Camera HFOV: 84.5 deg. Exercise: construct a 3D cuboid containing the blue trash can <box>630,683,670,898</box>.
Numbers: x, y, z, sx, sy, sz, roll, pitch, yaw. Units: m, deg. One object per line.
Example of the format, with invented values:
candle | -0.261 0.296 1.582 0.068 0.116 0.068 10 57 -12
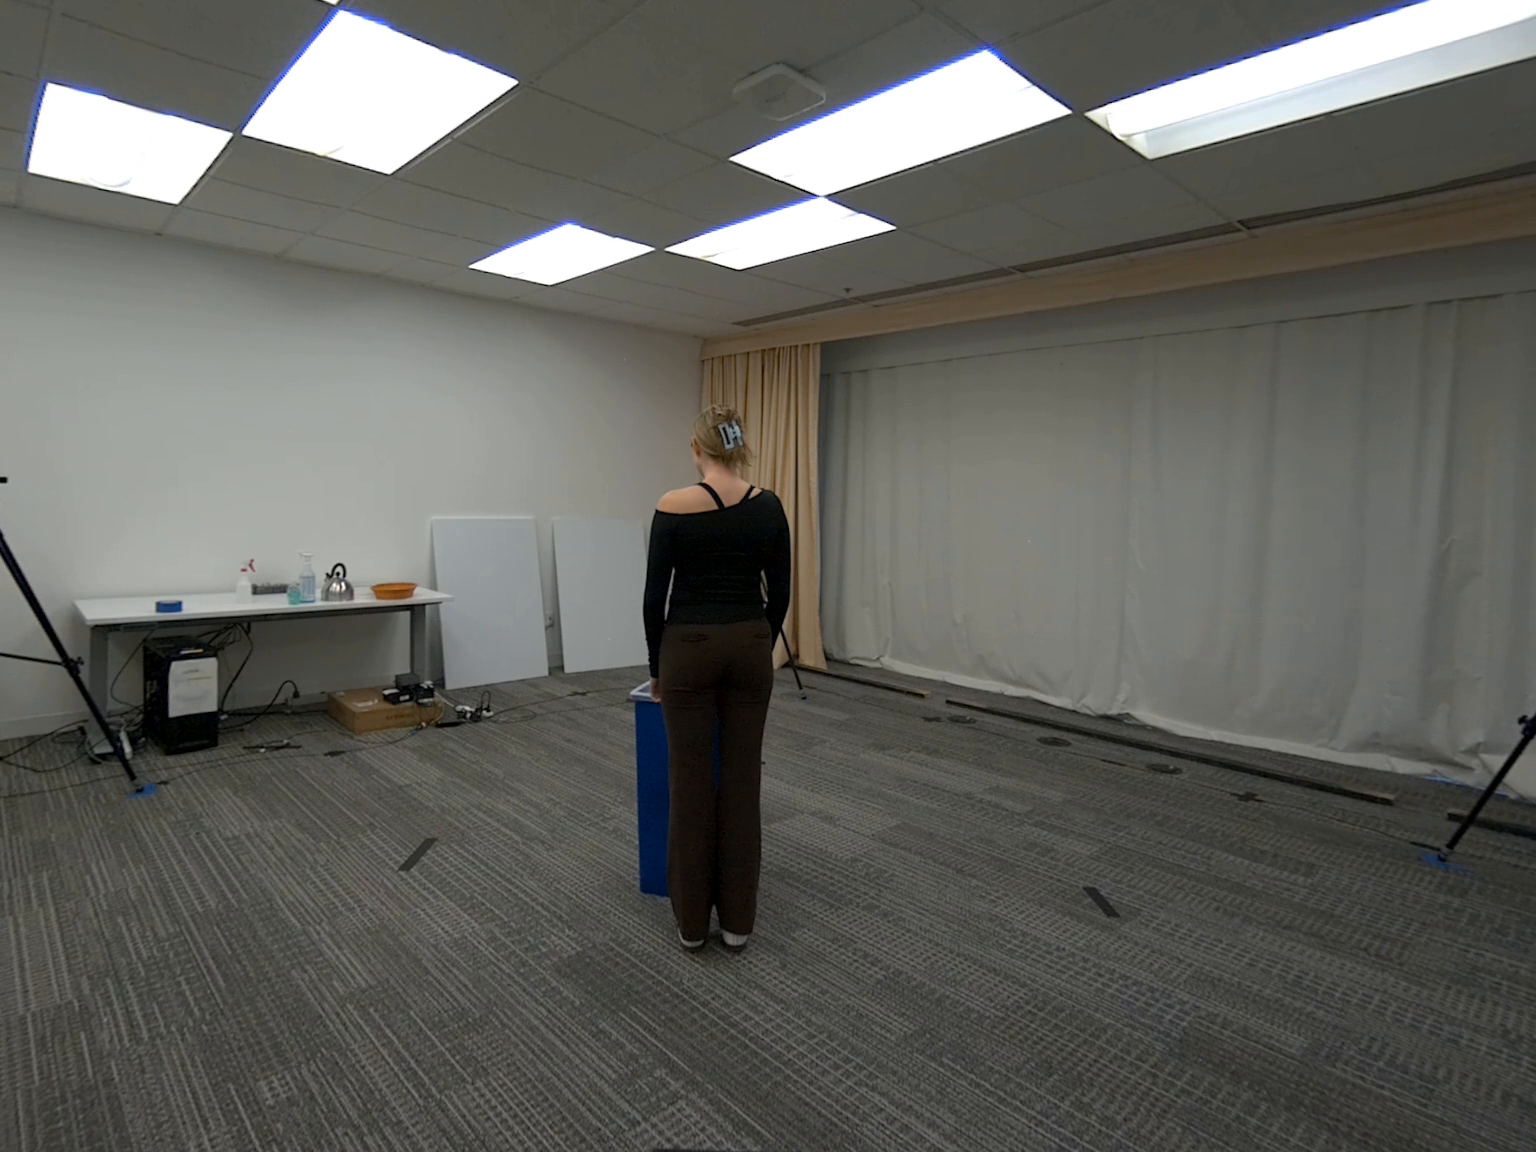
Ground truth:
blue trash can | -0.276 0.750 3.027 0.379 0.712 0.374 2 3 15
